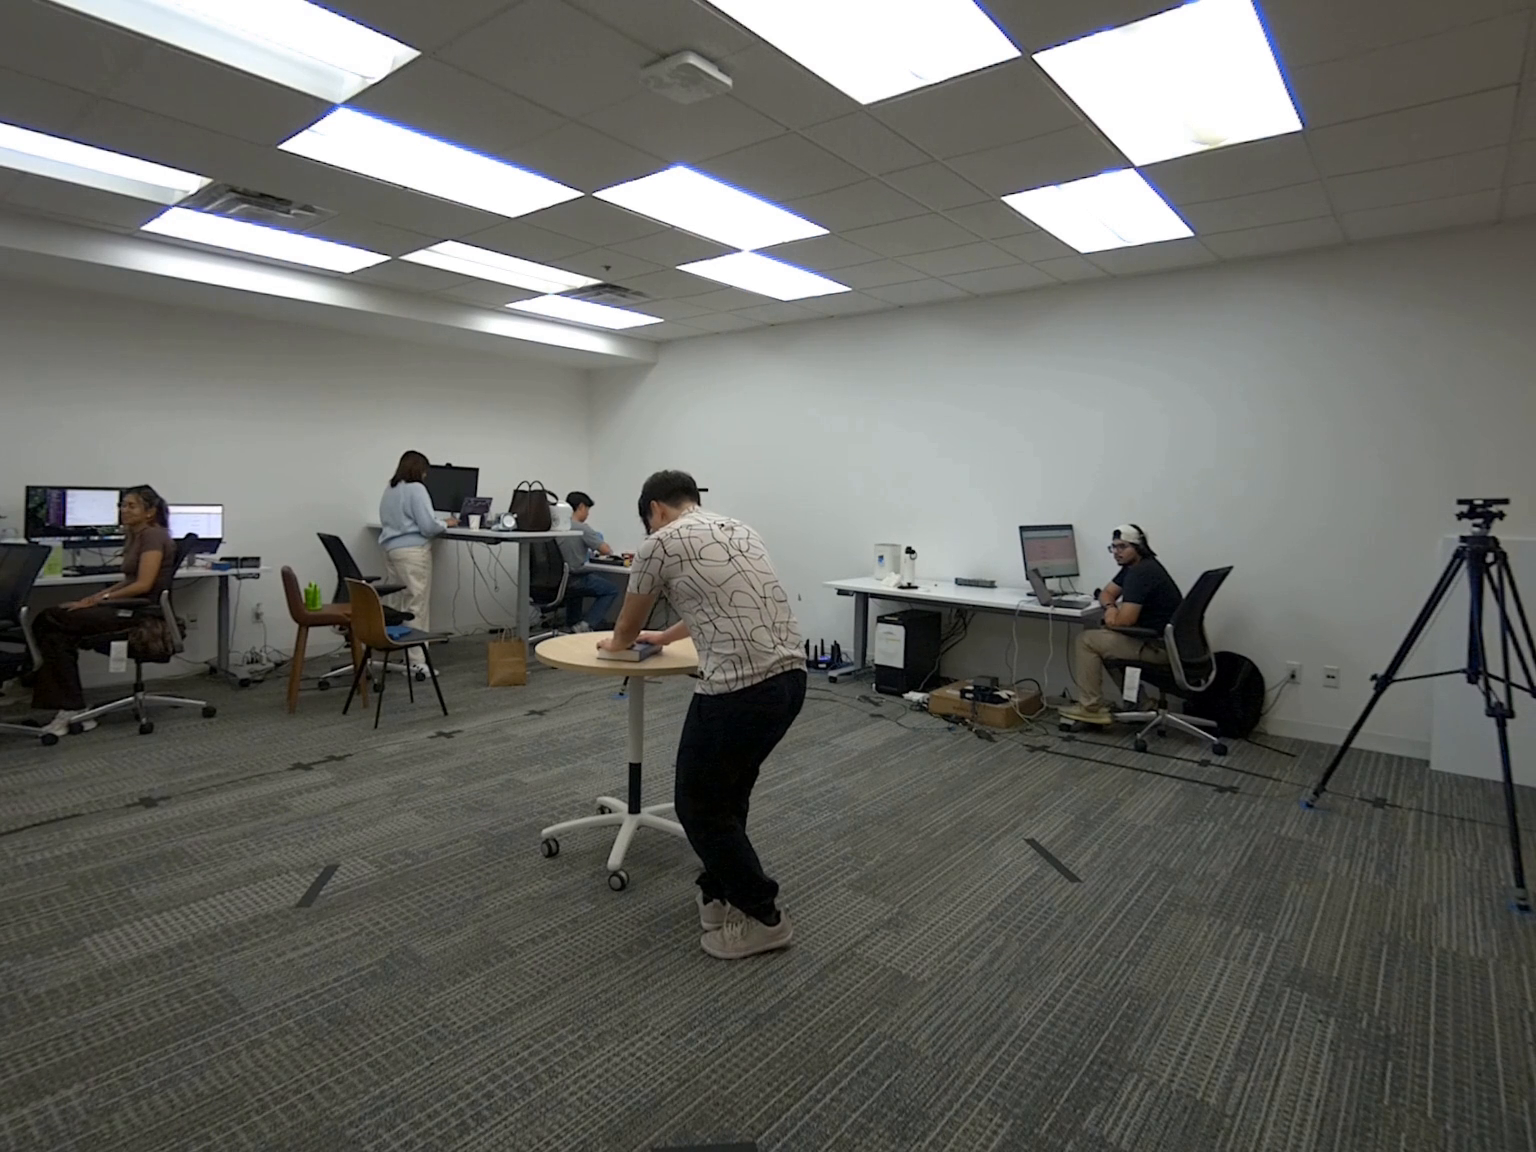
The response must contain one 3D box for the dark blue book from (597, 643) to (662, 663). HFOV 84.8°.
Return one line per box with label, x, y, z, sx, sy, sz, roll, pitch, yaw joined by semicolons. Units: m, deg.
dark blue book;-0.512;0.268;3.106;0.166;0.045;0.243;3;6;12
